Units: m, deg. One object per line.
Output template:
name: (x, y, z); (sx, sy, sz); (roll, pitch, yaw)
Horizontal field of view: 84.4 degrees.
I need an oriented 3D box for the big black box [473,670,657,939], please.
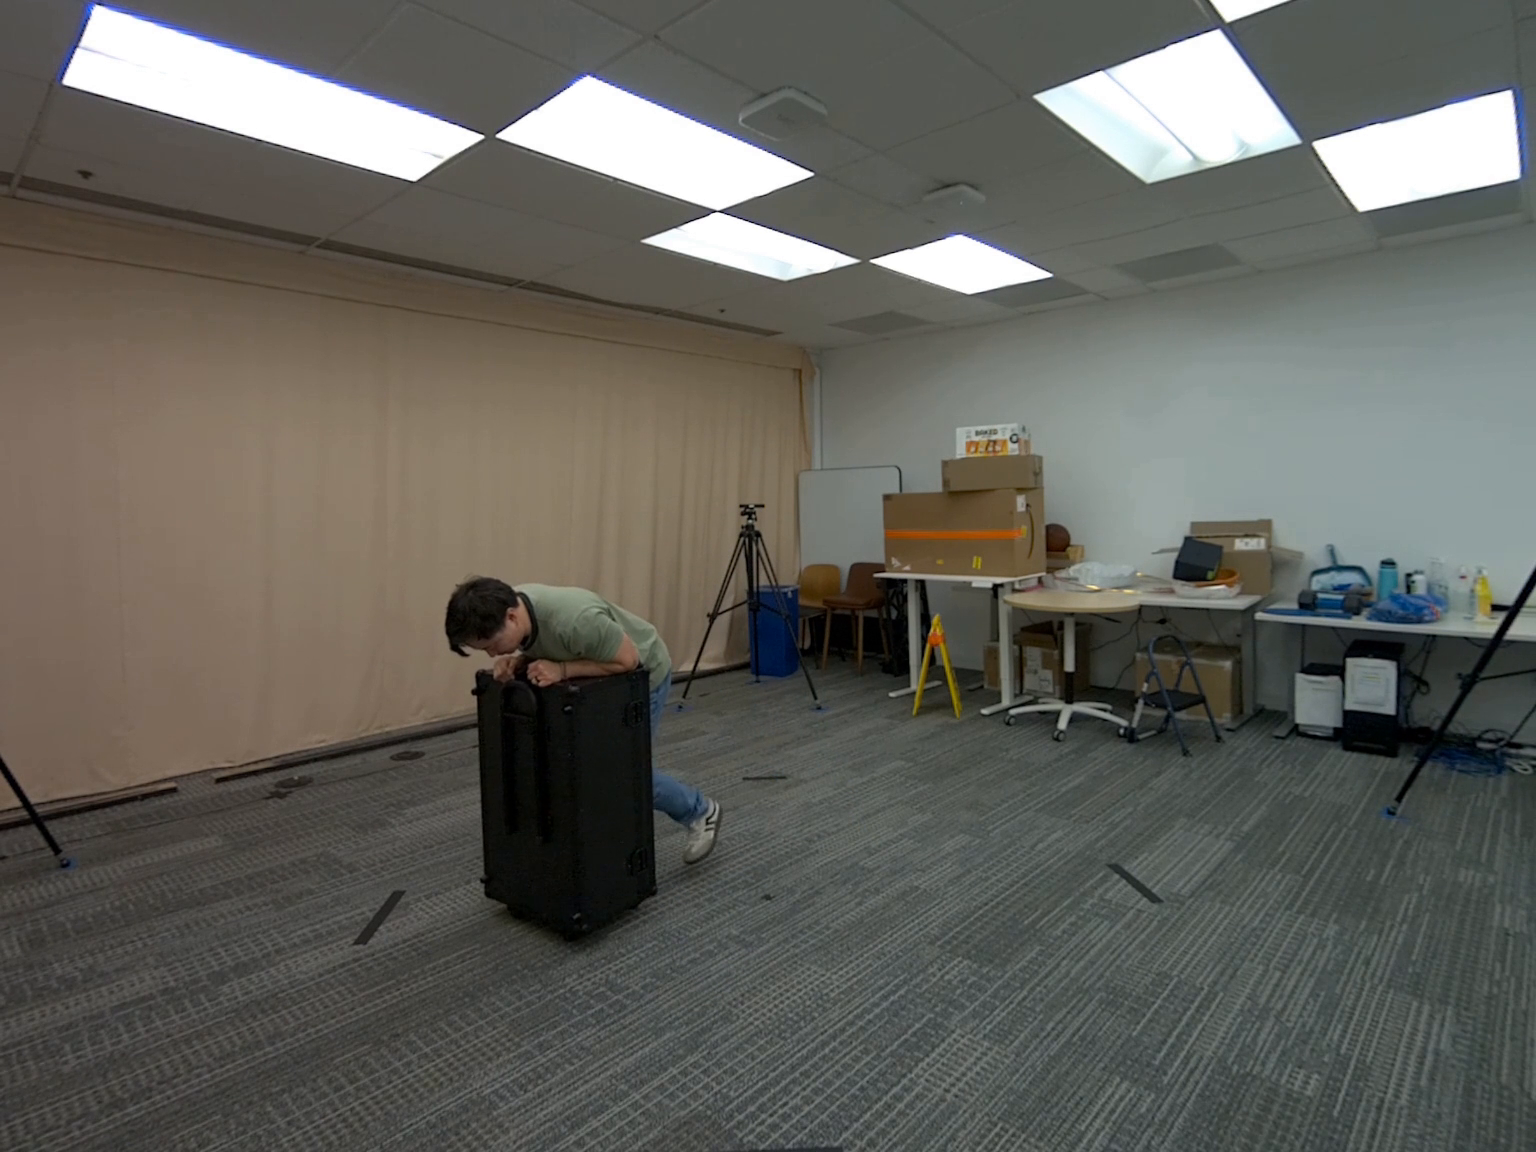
big black box: (-0.686, 0.745, 2.851); (0.538, 0.859, 0.385); (1, 6, 36)
